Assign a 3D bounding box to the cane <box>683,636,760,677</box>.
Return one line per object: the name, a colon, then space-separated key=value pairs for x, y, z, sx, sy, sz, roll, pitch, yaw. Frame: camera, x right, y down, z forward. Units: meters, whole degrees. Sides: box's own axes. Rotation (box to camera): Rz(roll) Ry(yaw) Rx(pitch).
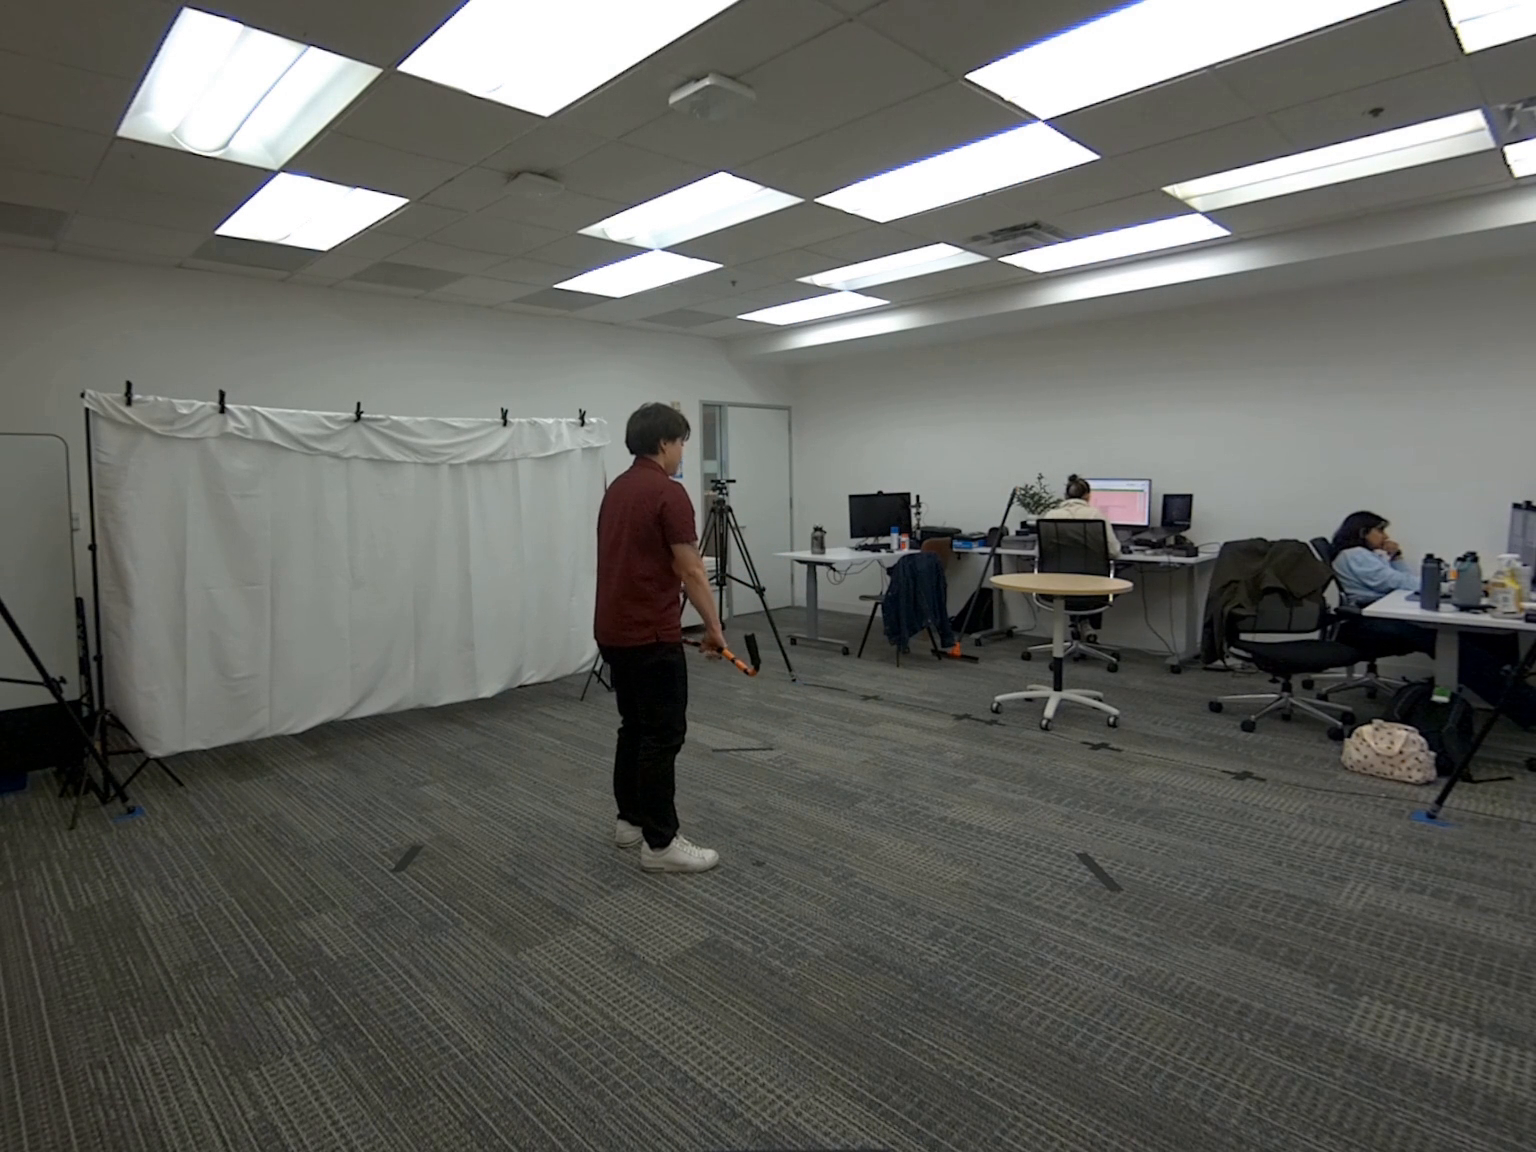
cane: x=-0.301 y=0.251 z=3.270 sx=0.149 sy=0.203 sz=0.935 roll=-25 pitch=18 yaw=-32
